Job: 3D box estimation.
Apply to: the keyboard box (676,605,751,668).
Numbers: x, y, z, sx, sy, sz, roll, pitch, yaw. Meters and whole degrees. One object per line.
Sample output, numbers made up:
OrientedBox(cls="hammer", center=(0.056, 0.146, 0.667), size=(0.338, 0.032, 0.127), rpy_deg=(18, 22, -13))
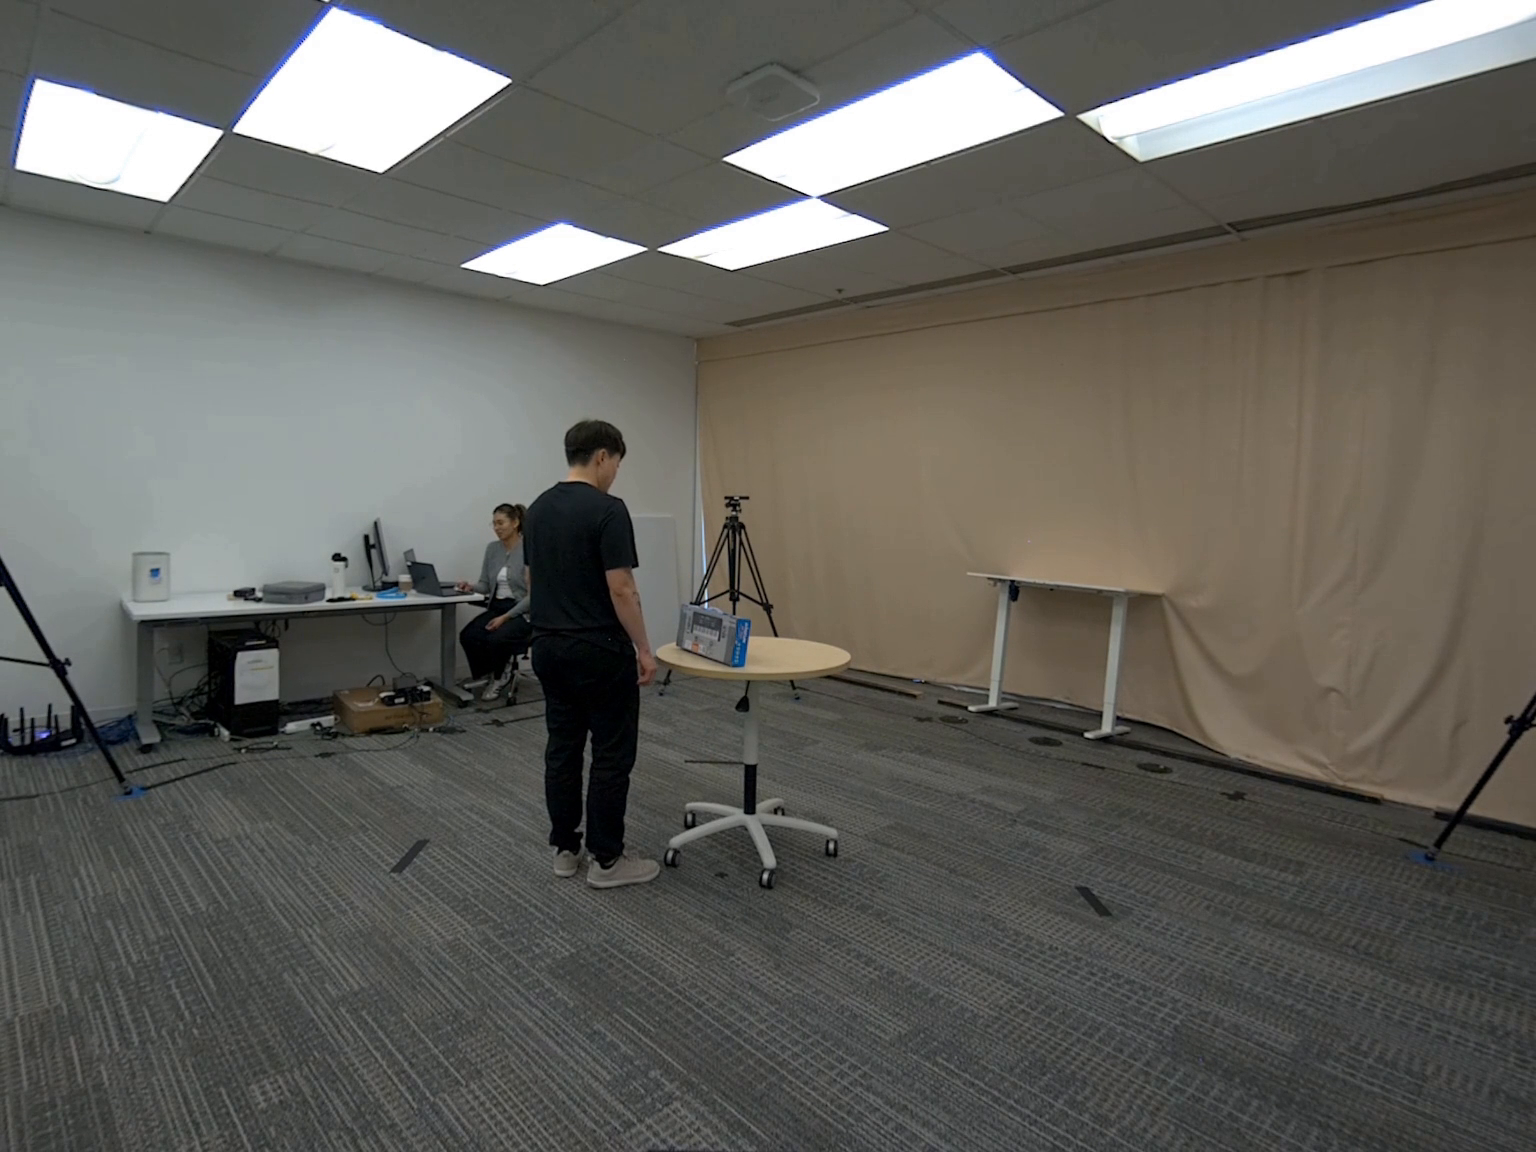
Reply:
OrientedBox(cls="keyboard box", center=(-0.226, 0.222, 3.215), size=(0.058, 0.176, 0.447), rpy_deg=(8, 1, -32))
